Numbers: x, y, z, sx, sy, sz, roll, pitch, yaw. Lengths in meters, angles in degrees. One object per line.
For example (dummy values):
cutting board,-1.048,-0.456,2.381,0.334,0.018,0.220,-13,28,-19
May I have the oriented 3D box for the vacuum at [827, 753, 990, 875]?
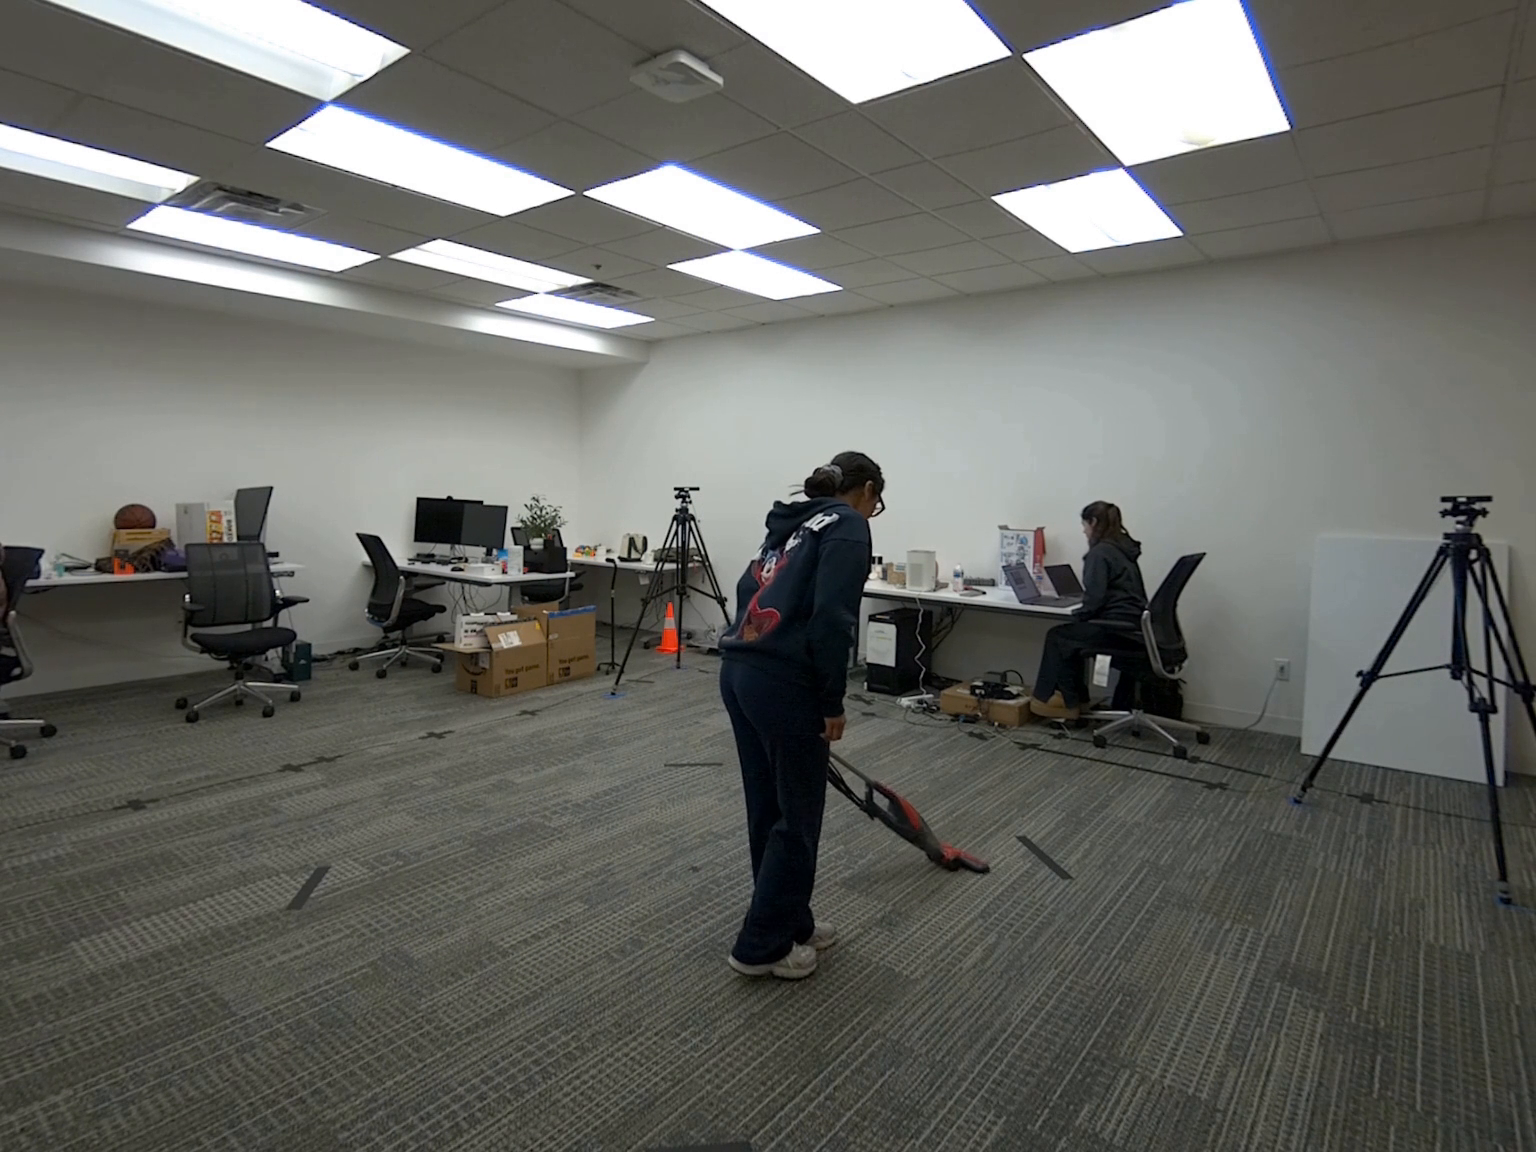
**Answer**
vacuum,0.339,0.767,2.994,1.015,0.145,0.260,40,-20,-26
